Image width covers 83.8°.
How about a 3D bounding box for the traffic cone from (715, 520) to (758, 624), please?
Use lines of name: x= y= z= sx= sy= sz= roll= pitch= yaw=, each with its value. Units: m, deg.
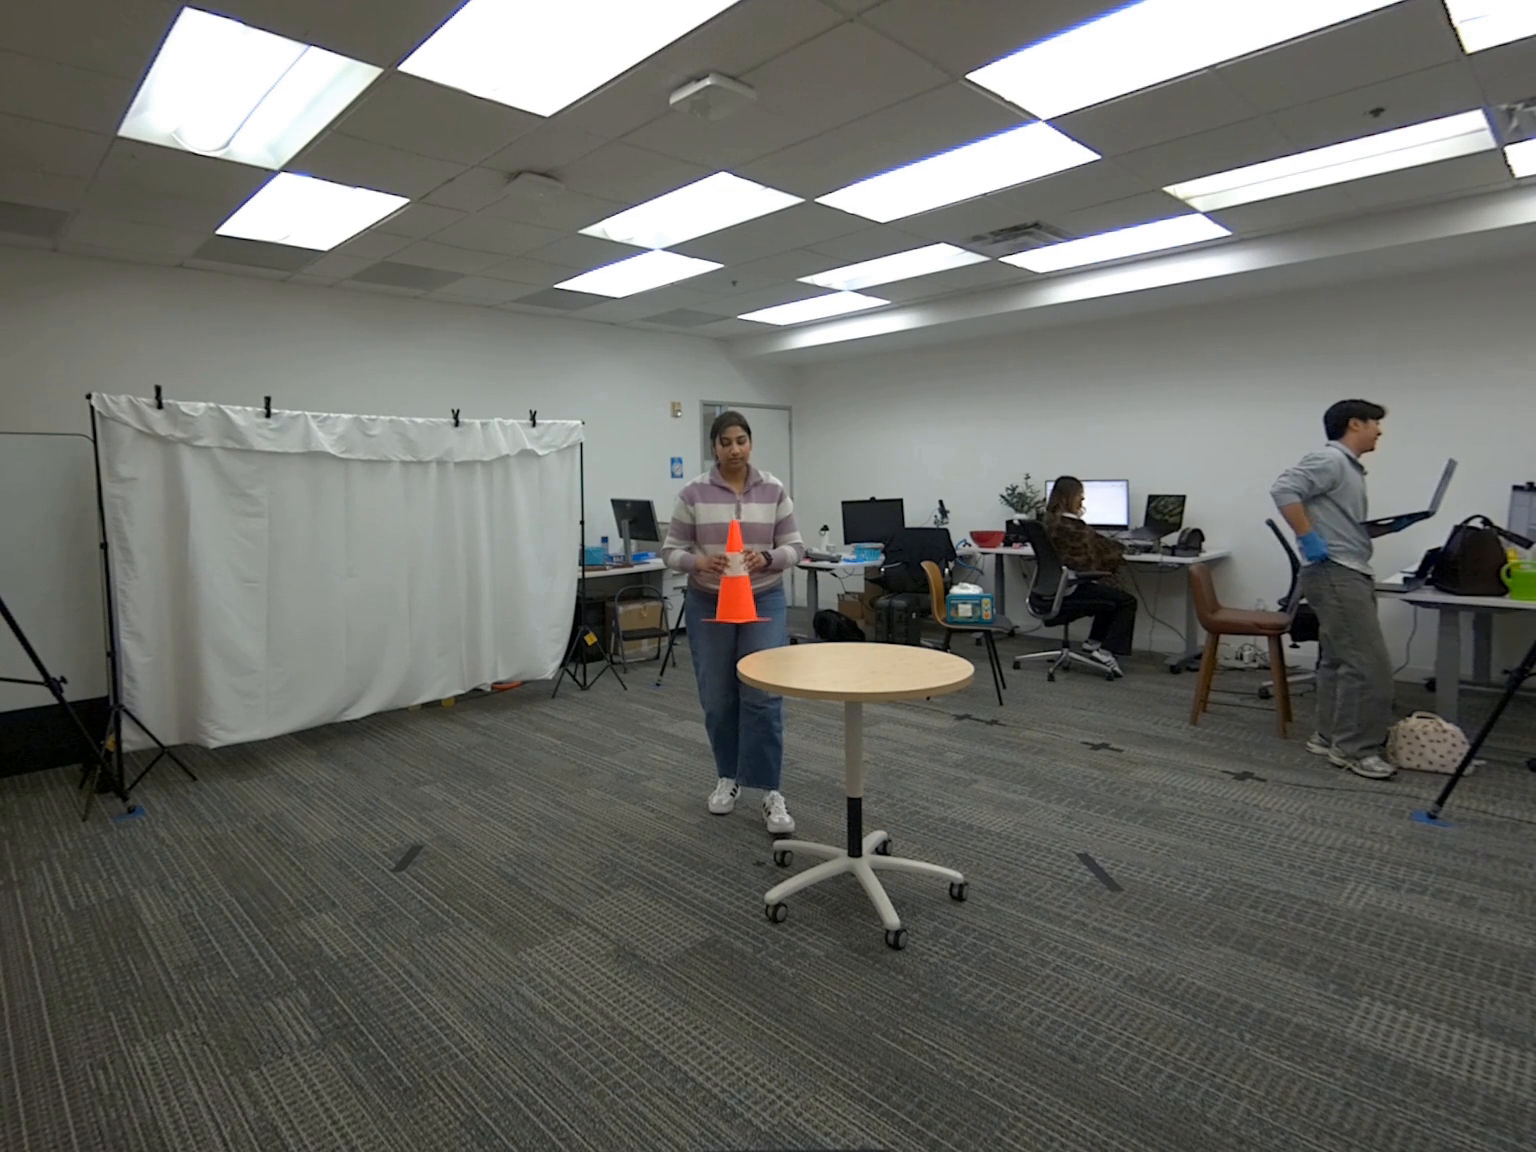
traffic cone: x=-0.119 y=-0.021 z=3.277 sx=0.208 sy=0.384 sz=0.200 roll=-2 pitch=-2 yaw=29
